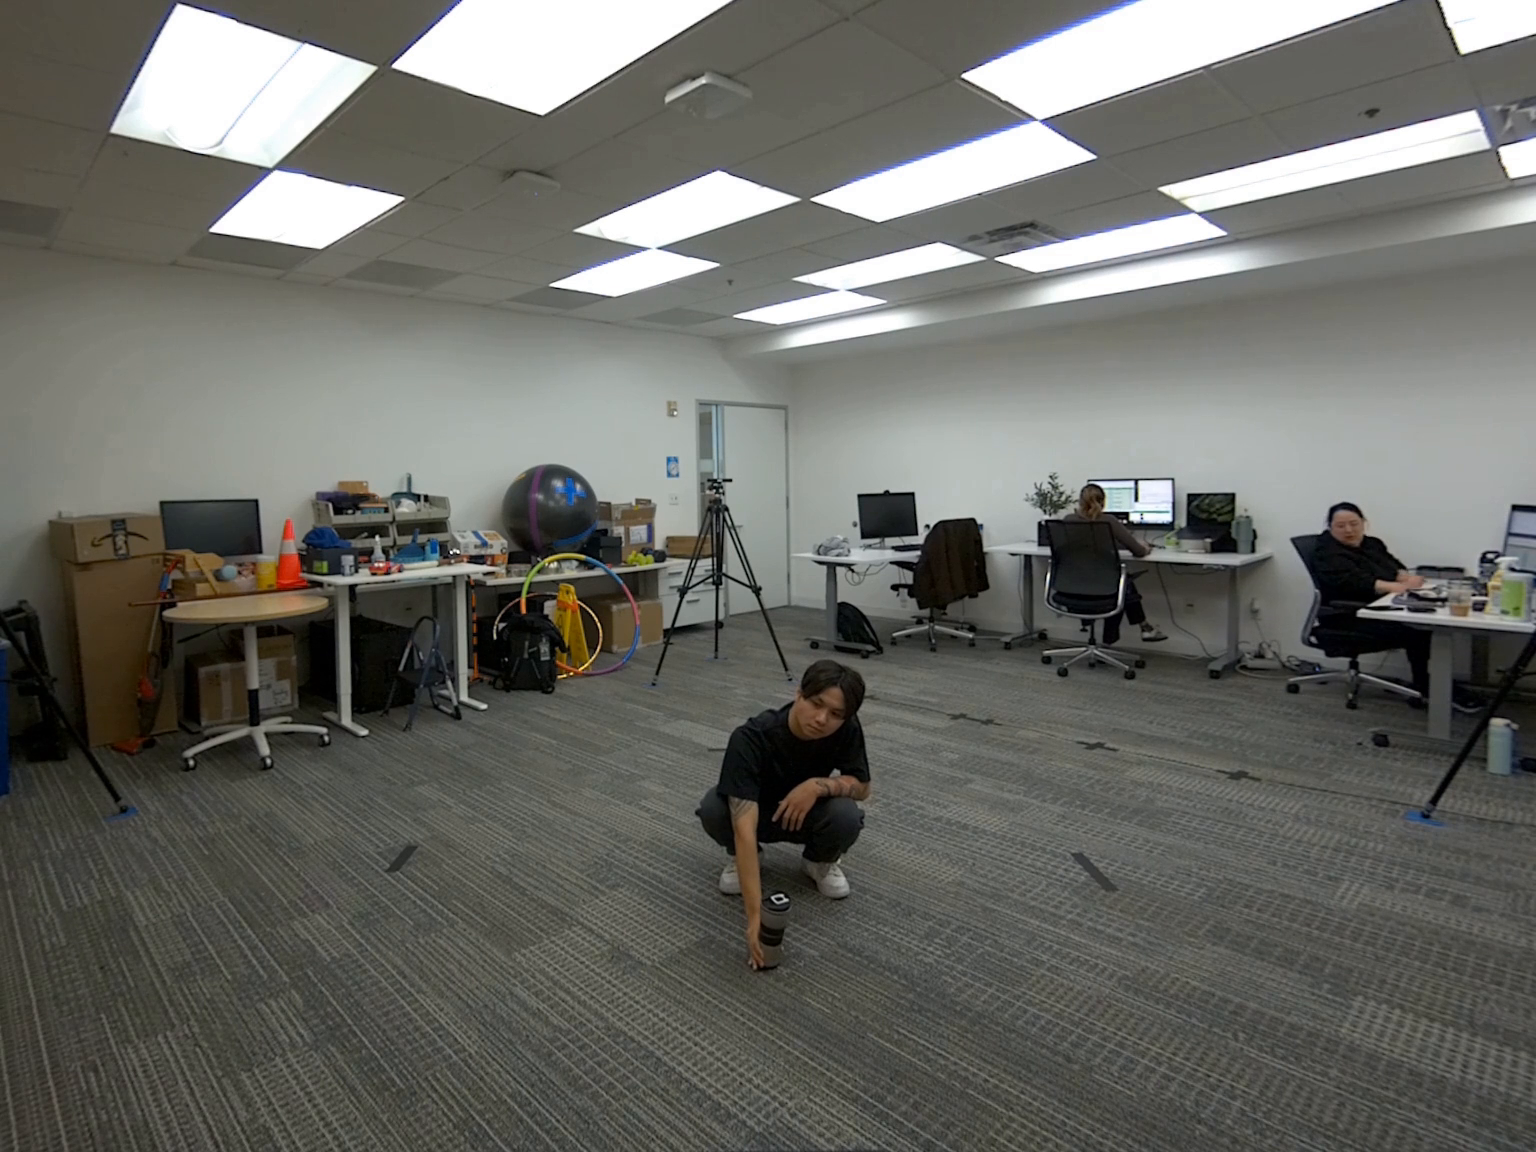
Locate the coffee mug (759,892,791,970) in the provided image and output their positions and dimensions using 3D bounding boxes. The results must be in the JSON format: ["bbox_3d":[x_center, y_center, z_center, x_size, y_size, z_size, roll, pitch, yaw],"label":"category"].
[{"bbox_3d":[0.030,1.024,2.460,0.091,0.201,0.119,9,15,41],"label":"coffee mug"}]
